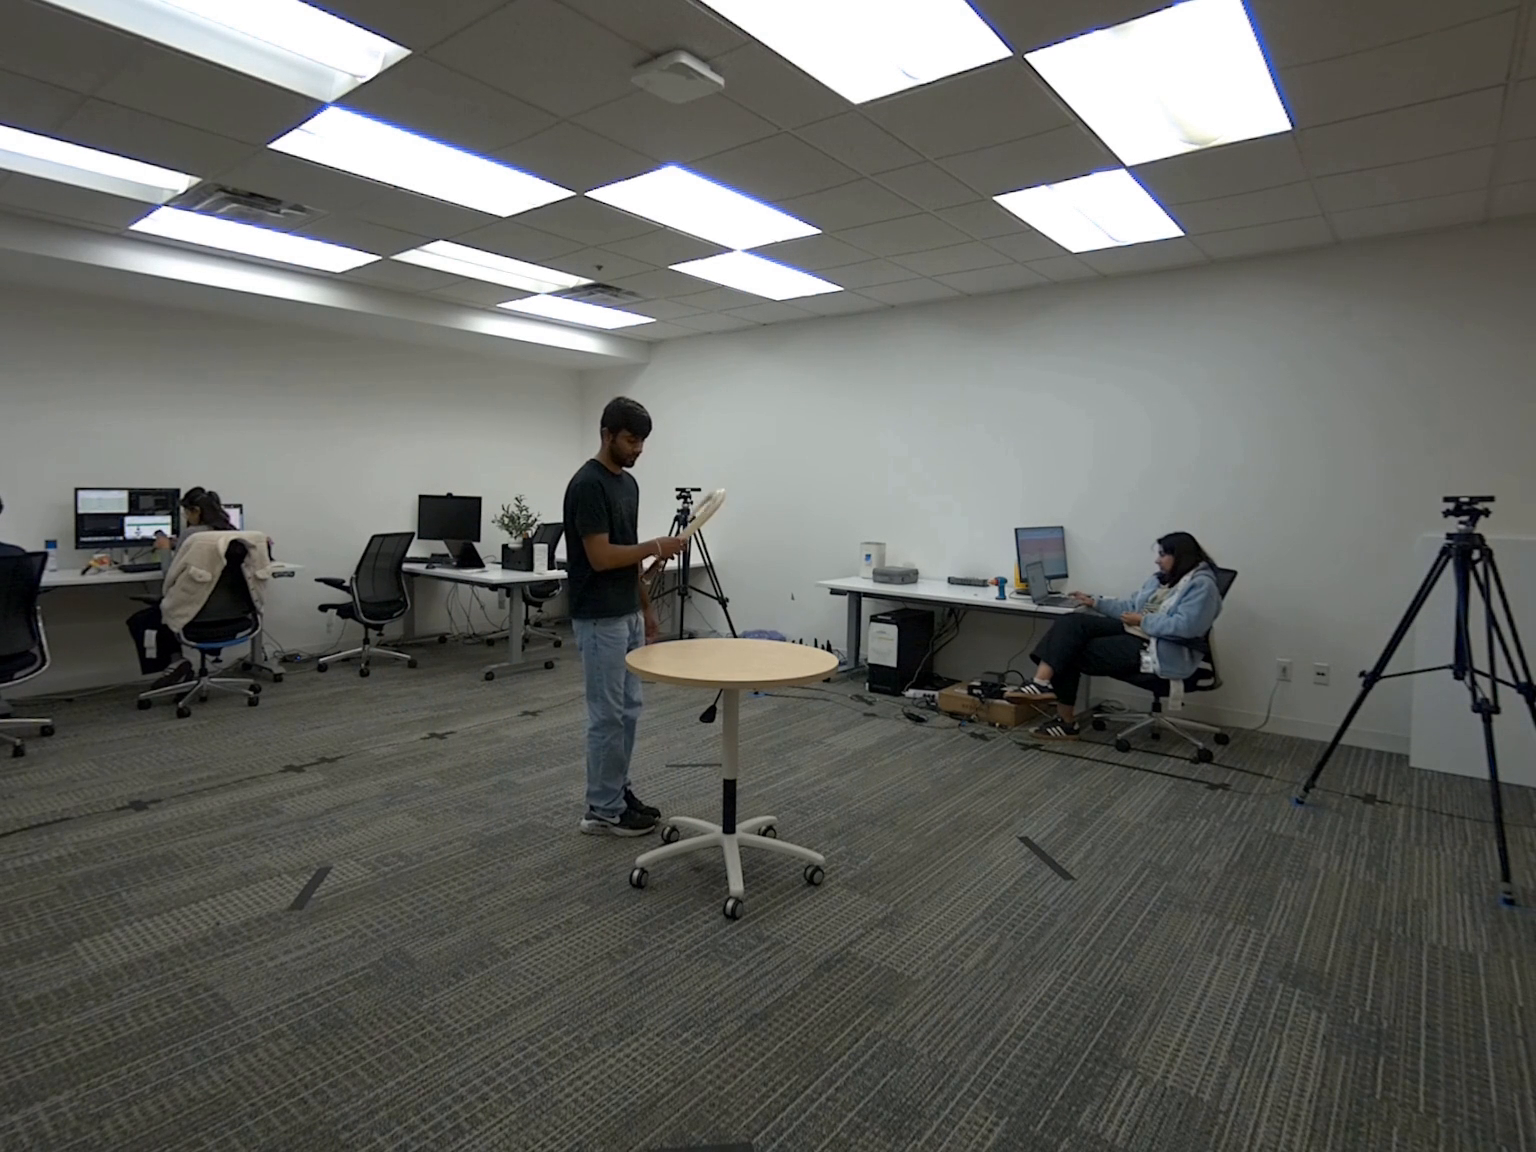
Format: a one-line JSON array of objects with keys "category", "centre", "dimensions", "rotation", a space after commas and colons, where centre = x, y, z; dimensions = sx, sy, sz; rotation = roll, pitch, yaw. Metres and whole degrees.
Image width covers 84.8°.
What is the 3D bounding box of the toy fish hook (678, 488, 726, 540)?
[{"category": "toy fish hook", "centre": [-0.380, -0.176, 3.521], "dimensions": [0.047, 0.506, 0.228], "rotation": [42, 3, -14]}]
